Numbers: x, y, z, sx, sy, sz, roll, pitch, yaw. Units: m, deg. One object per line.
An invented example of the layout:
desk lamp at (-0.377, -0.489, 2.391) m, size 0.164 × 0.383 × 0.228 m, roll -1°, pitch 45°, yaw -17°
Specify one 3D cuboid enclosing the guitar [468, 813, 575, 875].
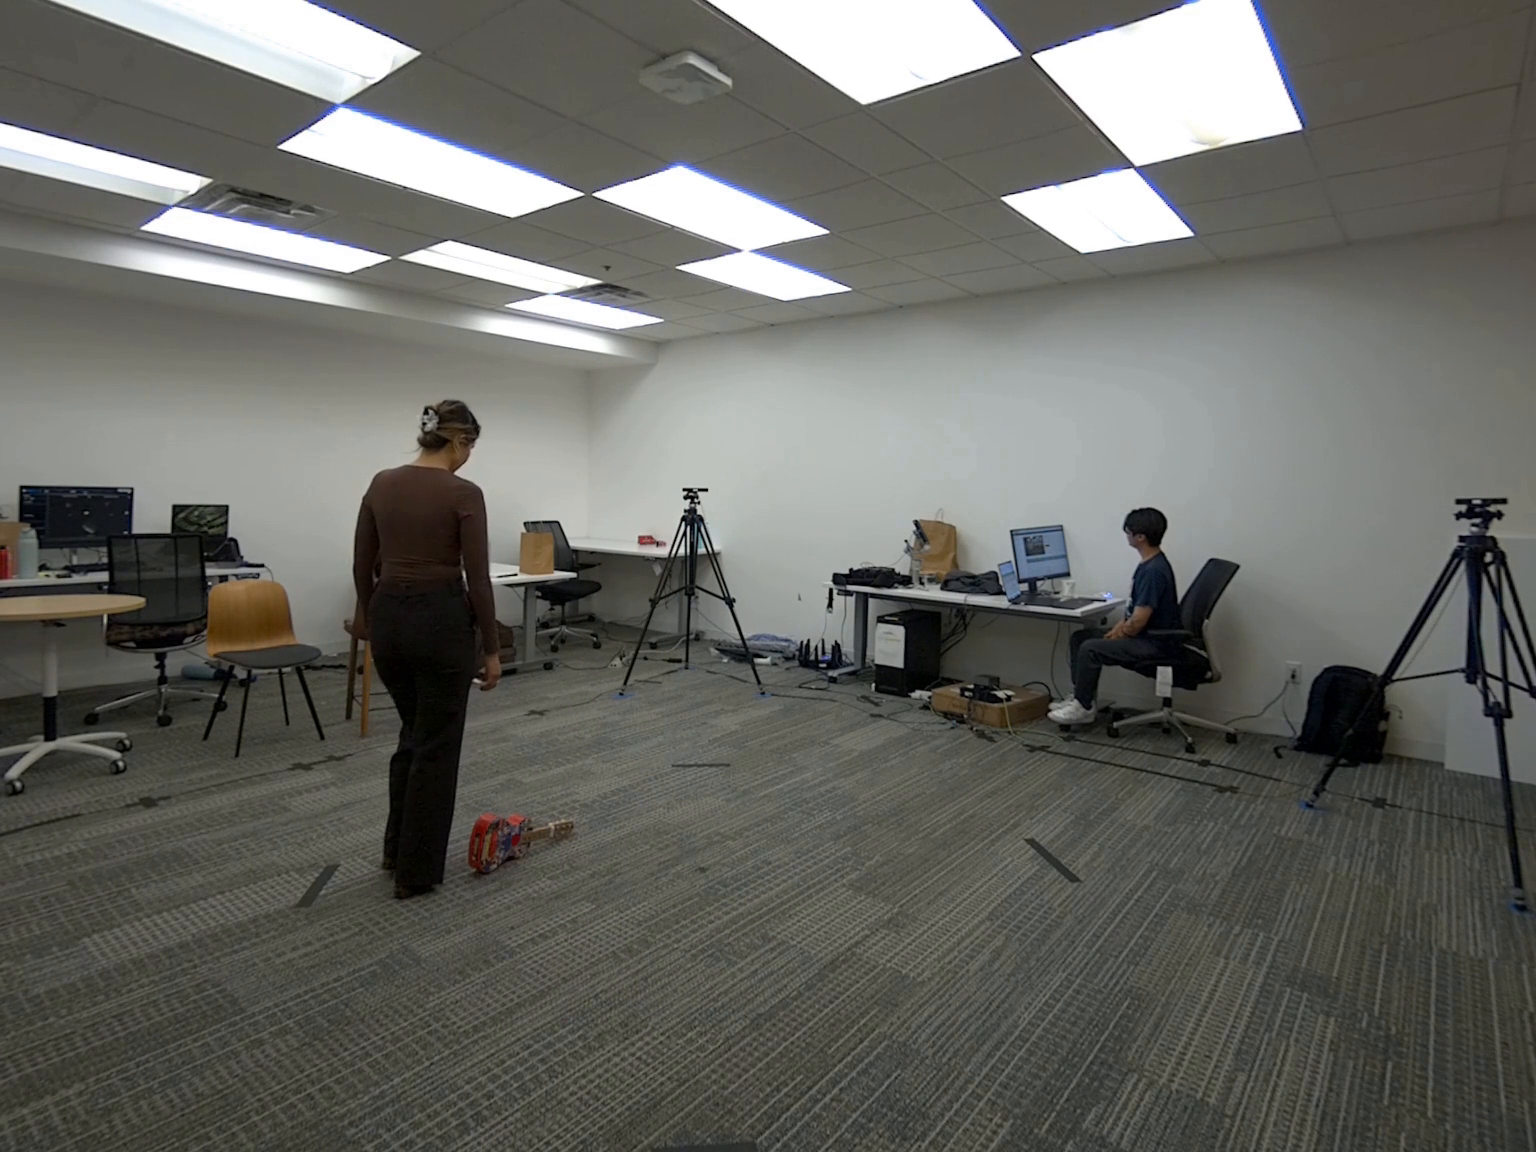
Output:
guitar at (-0.940, 1.008, 3.214) m, size 0.073 × 0.194 × 0.479 m, roll 5°, pitch -12°, yaw 29°
